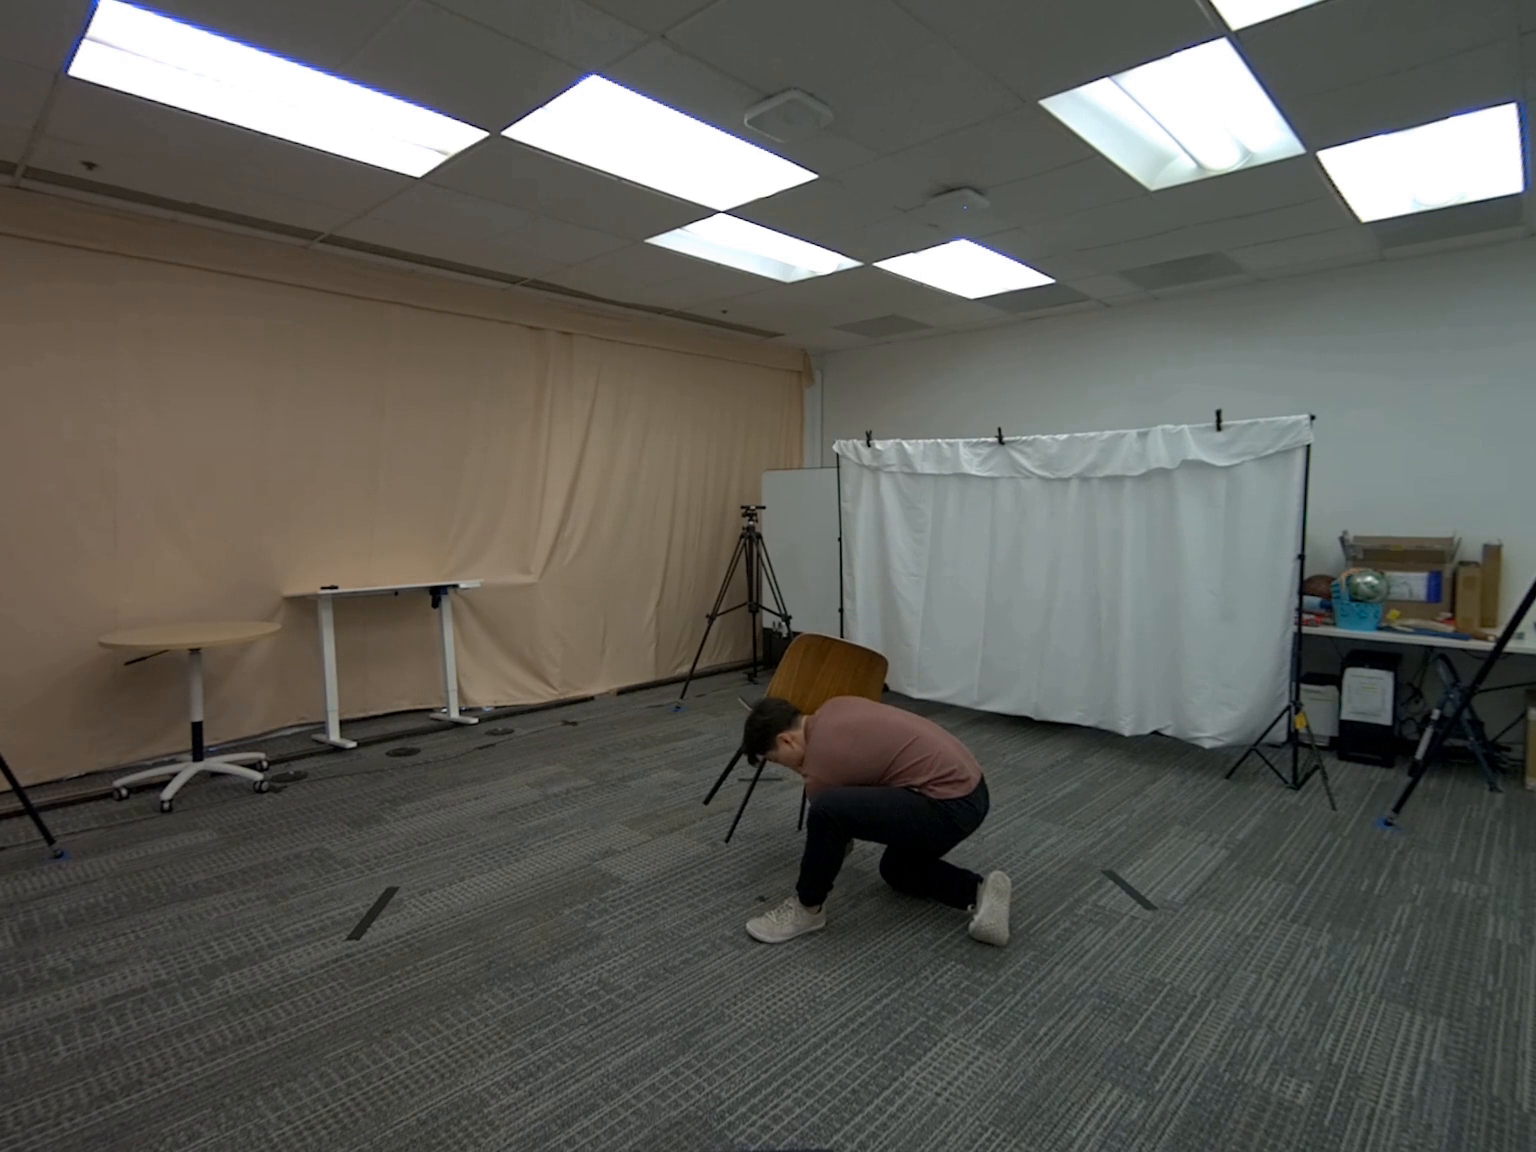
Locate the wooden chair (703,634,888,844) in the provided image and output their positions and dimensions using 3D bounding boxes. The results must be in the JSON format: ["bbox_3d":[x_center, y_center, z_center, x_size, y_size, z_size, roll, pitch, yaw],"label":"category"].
[{"bbox_3d":[0.113,0.634,3.377,0.471,0.877,0.532,17,2,-14],"label":"wooden chair"}]
